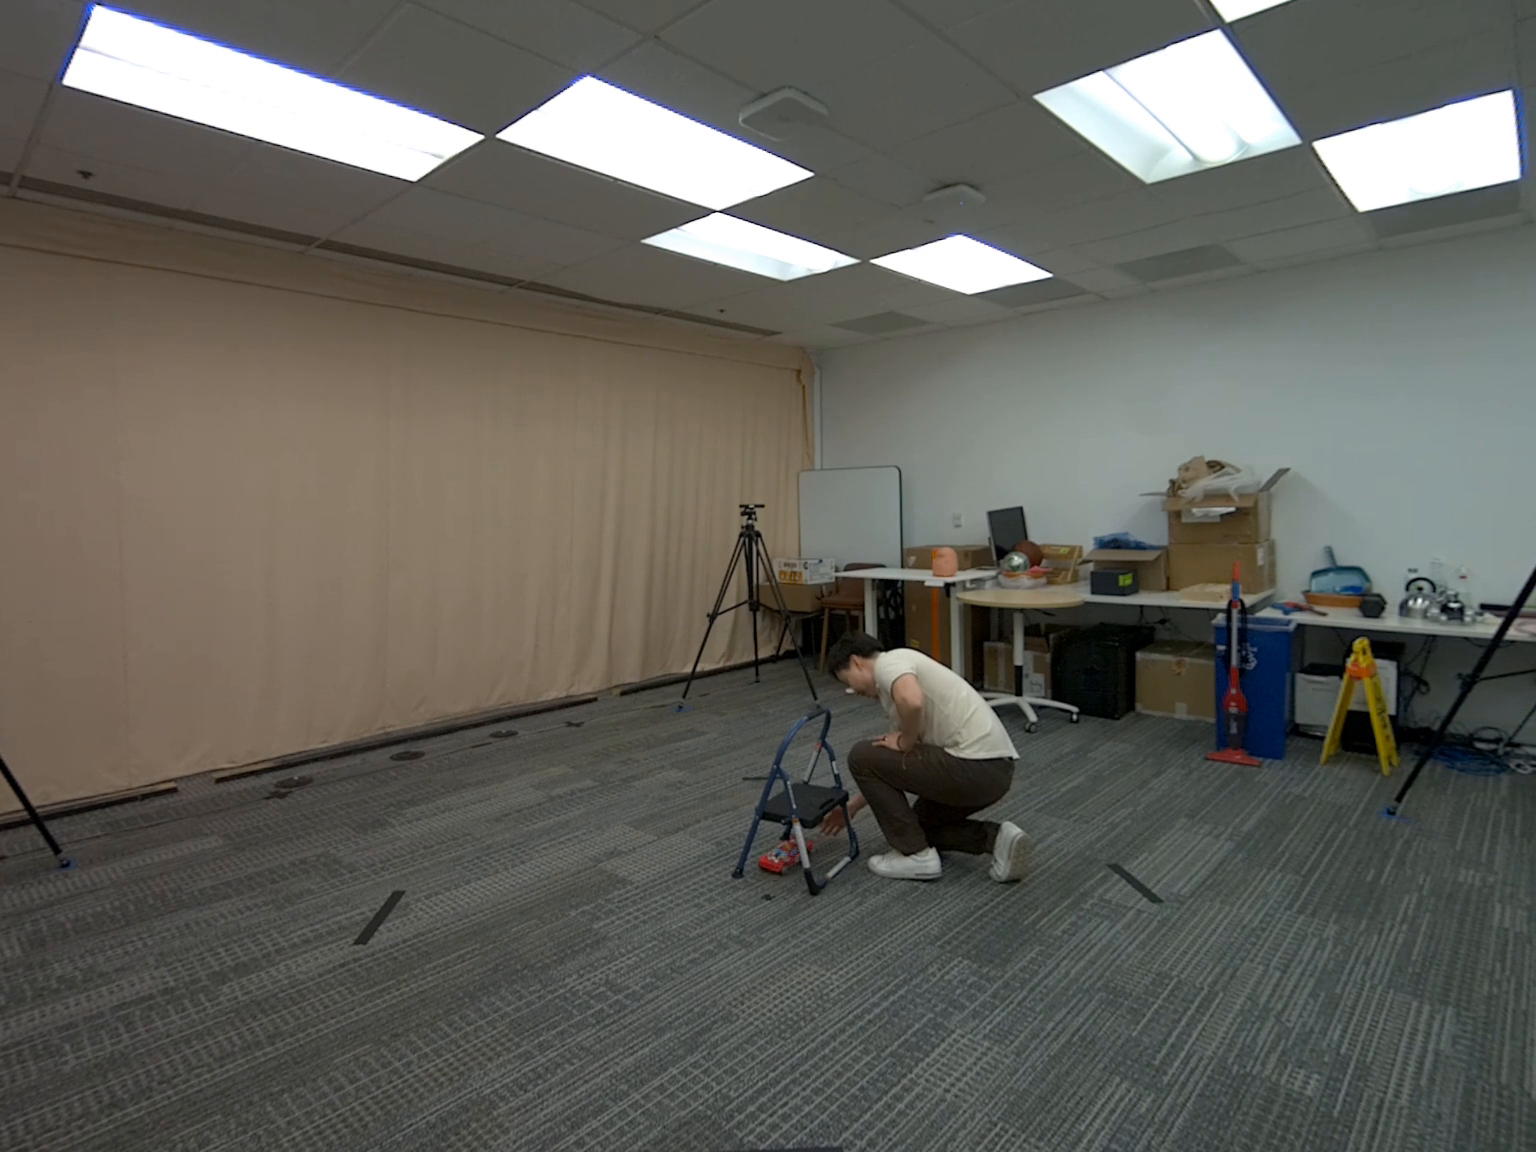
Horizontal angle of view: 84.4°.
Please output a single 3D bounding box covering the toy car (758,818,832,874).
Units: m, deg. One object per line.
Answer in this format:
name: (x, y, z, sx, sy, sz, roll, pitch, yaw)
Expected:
toy car: (0.086, 1.085, 3.275, 0.134, 0.082, 0.249, 3, 17, 38)
